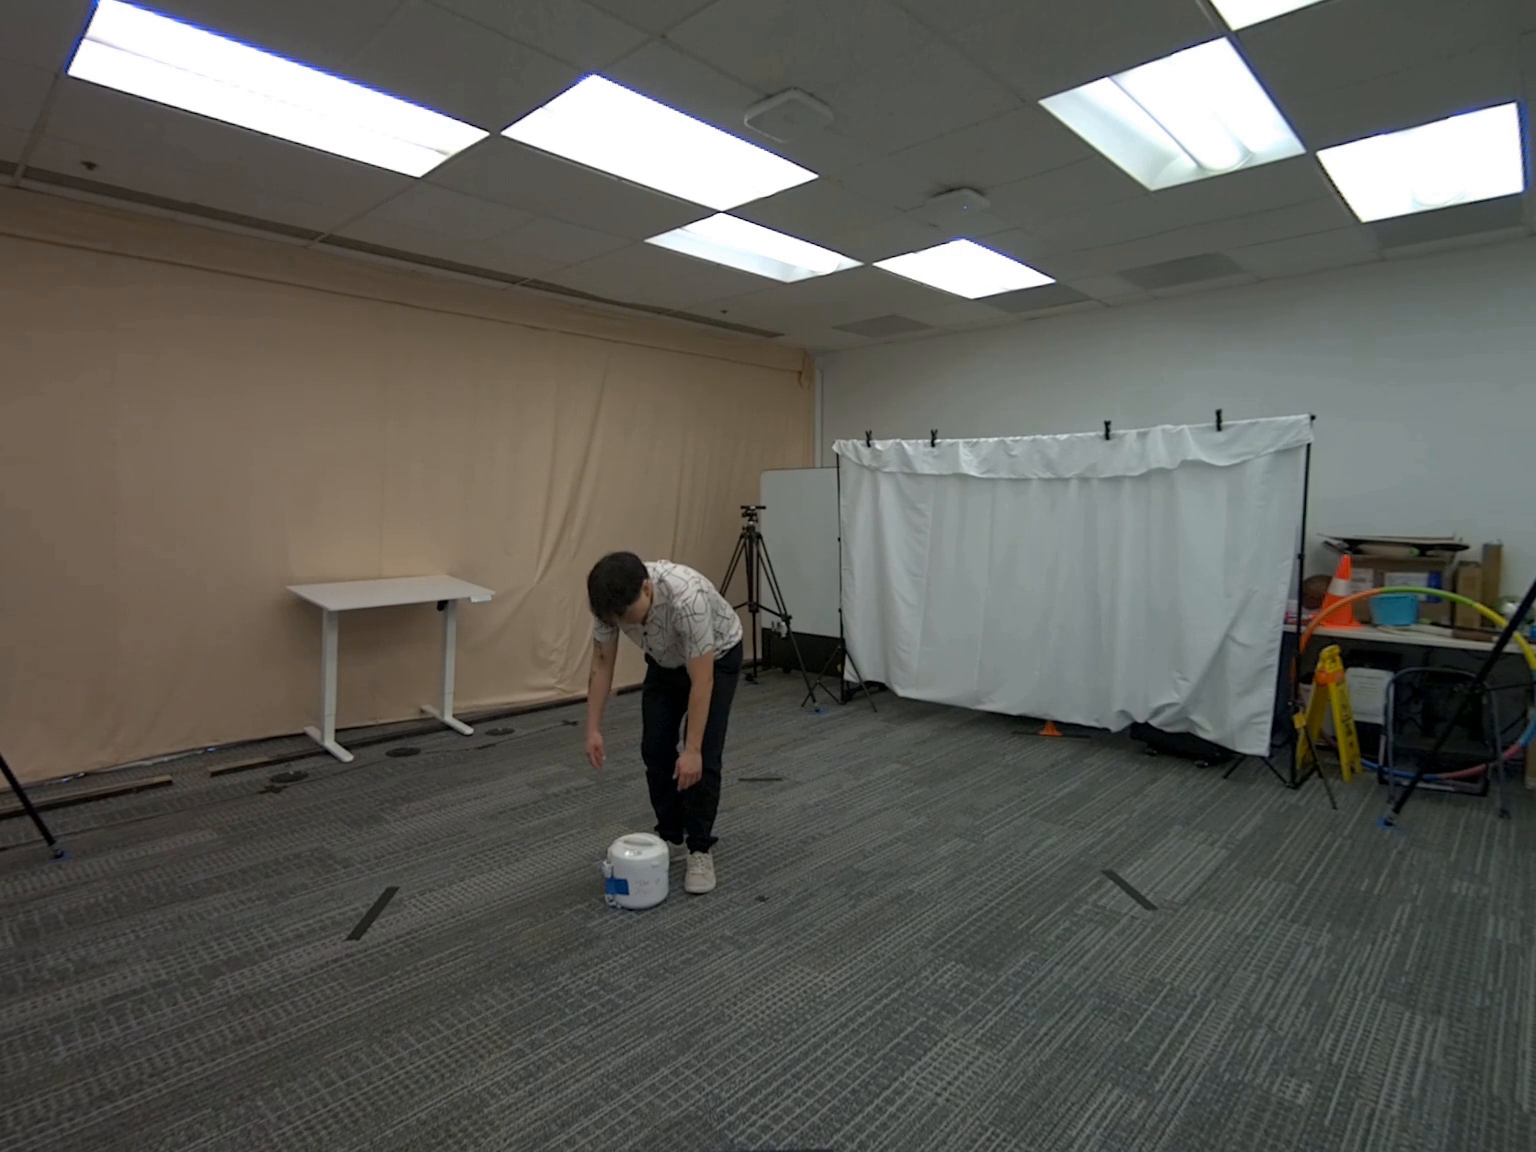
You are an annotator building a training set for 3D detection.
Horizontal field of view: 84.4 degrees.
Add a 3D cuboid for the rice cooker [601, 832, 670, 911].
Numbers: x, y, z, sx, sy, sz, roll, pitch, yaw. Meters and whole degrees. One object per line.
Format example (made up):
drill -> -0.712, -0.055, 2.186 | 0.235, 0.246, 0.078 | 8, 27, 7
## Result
rice cooker -> -0.456, 1.024, 2.991 | 0.224, 0.232, 0.215 | 1, 4, 12
